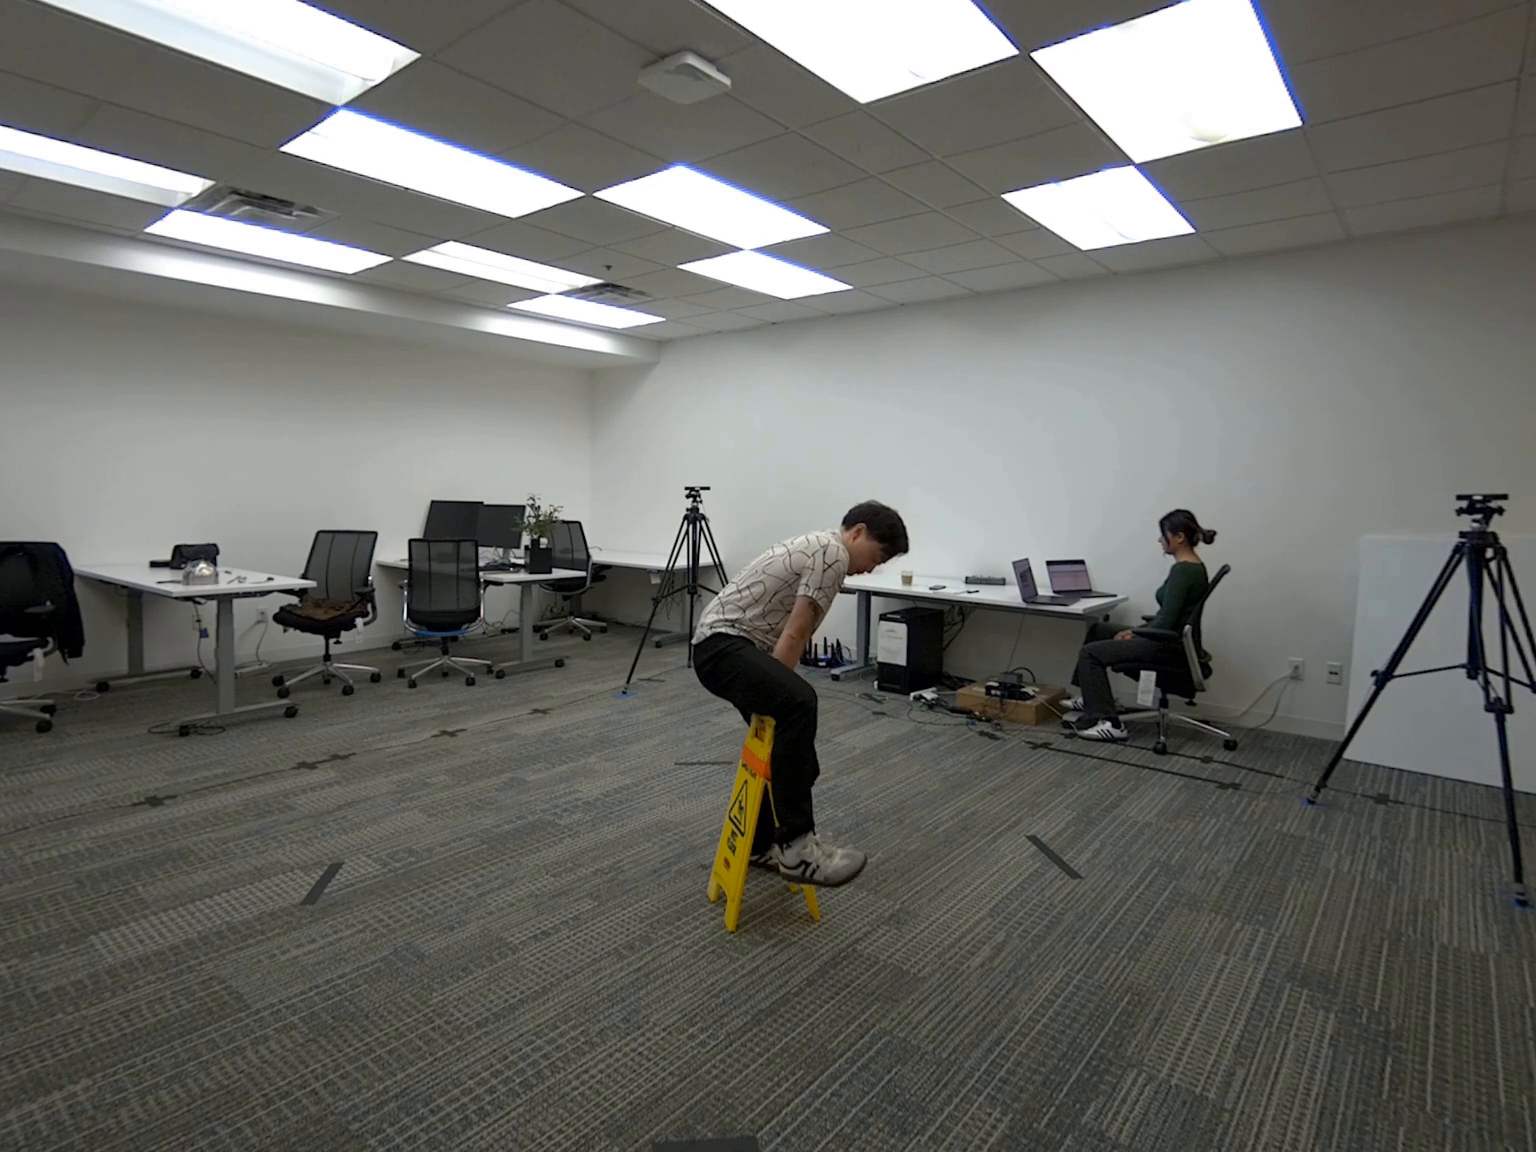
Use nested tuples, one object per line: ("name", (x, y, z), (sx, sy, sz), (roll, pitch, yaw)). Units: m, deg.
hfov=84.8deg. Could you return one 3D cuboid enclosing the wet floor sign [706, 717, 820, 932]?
("wet floor sign", (-0.023, 0.776, 2.805), (0.284, 0.643, 0.289), (1, 5, -18))
